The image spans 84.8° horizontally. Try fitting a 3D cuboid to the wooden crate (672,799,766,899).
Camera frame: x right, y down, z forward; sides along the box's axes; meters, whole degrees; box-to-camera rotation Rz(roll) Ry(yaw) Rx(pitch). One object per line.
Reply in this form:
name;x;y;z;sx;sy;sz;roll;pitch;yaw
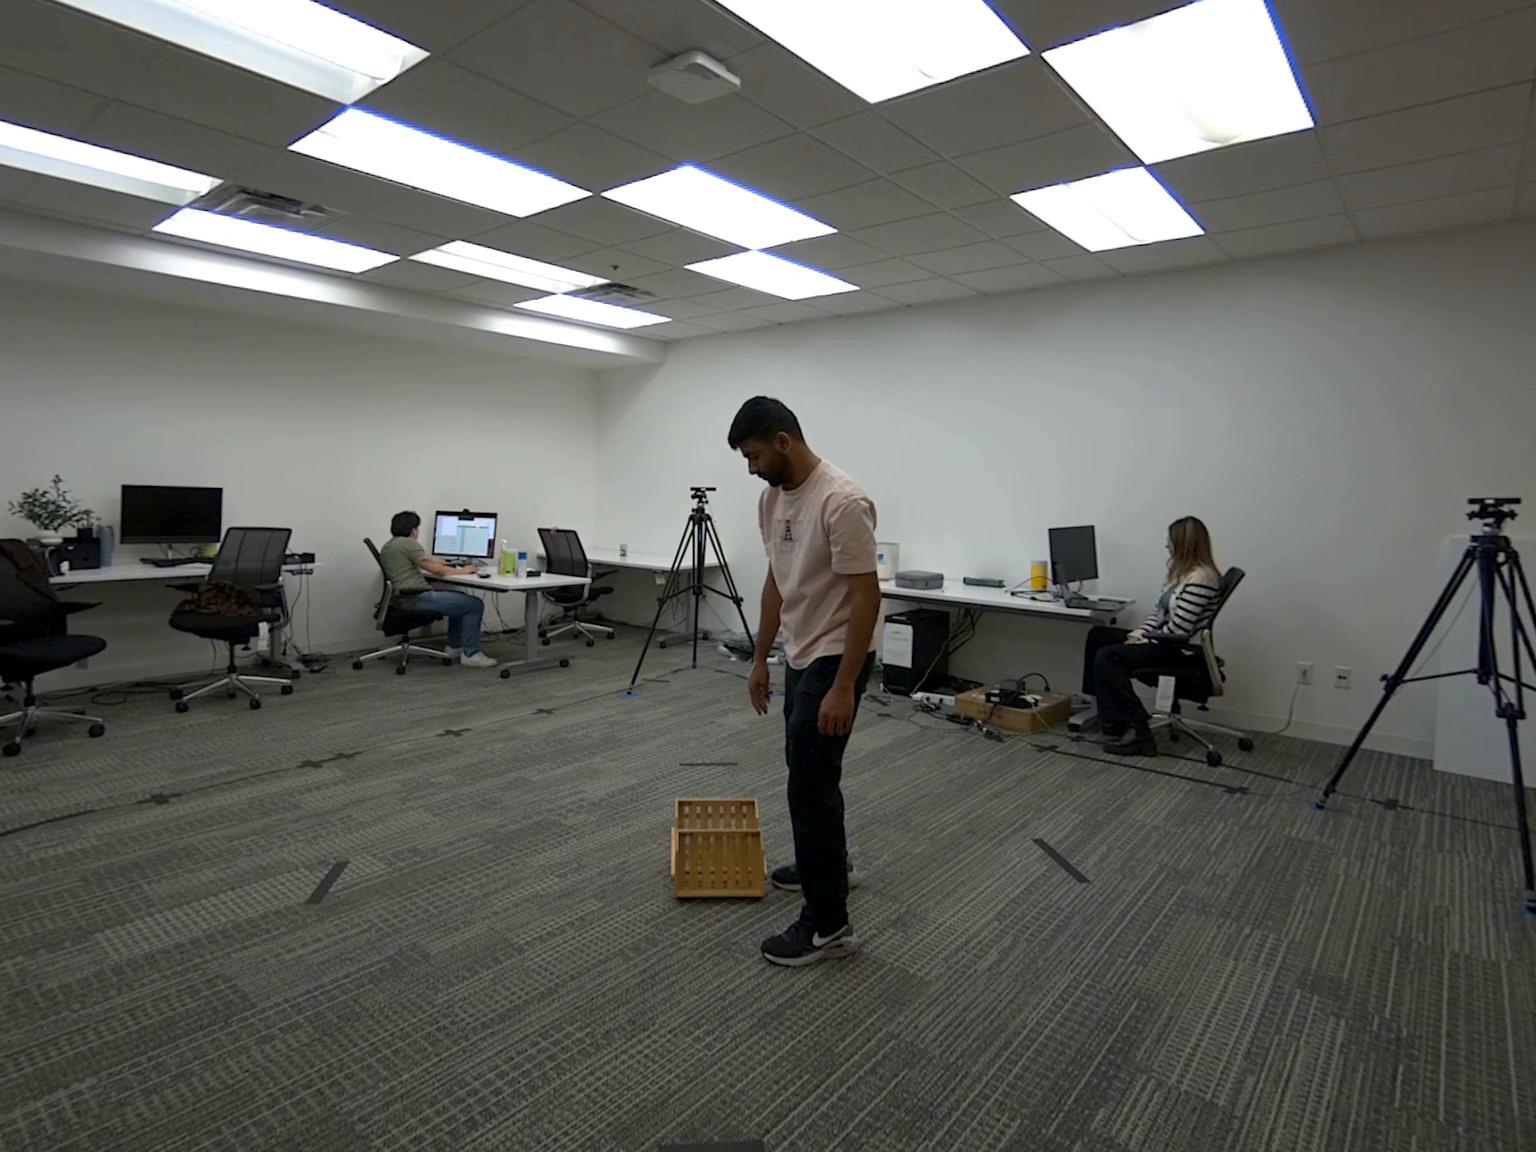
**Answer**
wooden crate;-0.184;0.943;2.997;0.323;0.306;0.271;1;-13;-5
